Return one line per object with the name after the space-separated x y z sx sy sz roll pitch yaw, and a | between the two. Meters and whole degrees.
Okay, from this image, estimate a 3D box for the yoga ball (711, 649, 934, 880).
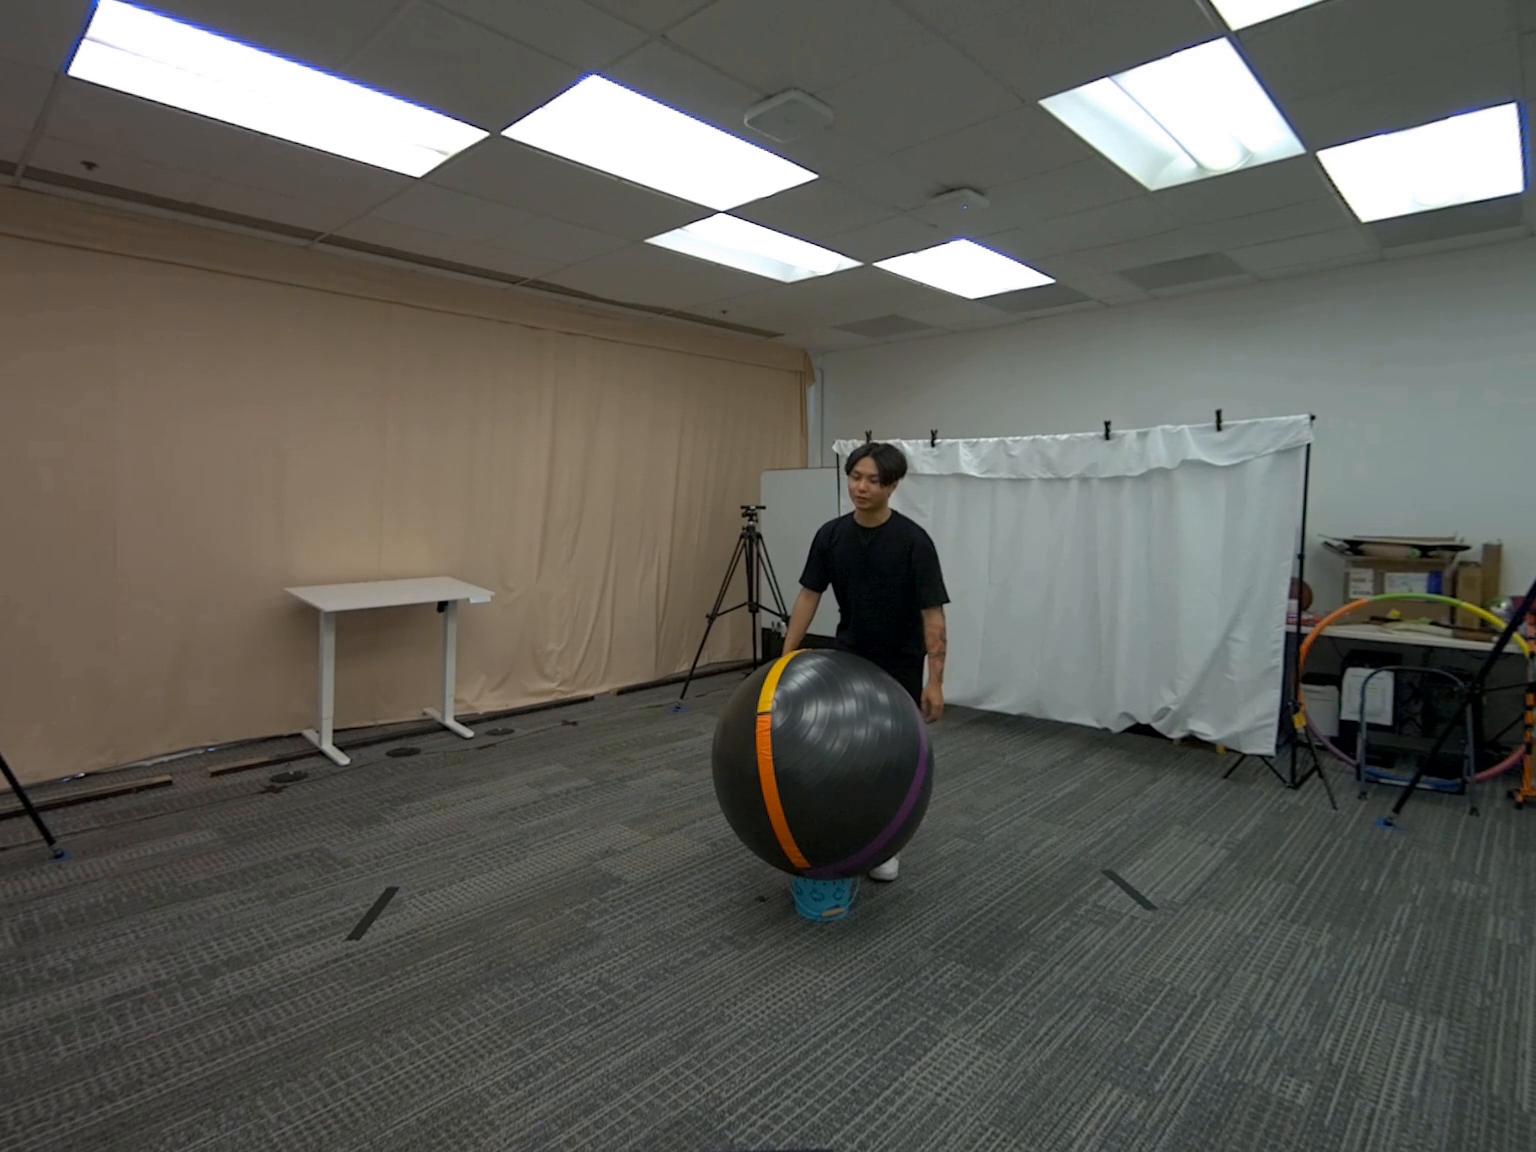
0.187 0.641 2.881 0.757 0.756 0.760 0 4 -2 | yoga ball
